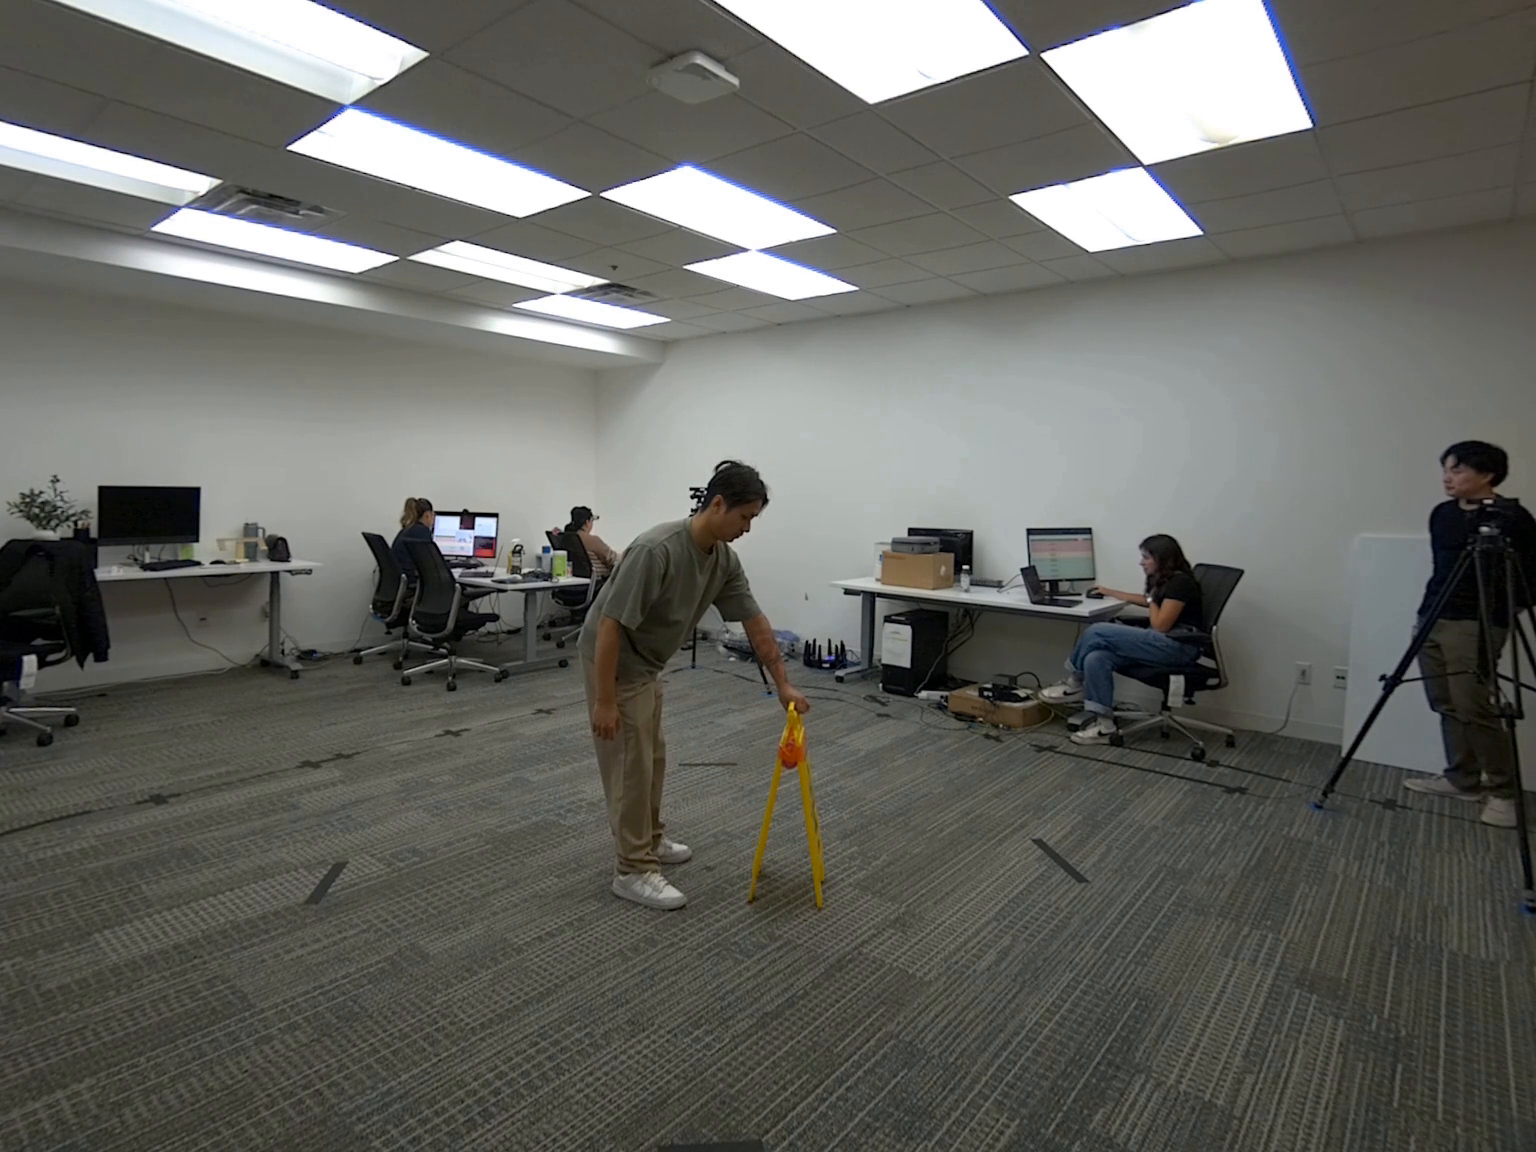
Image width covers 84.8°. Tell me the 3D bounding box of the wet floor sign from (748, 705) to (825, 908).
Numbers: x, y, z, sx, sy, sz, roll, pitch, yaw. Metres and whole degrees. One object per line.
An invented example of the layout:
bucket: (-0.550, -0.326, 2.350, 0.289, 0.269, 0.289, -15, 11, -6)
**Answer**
wet floor sign: (0.077, 0.771, 2.955, 0.292, 0.644, 0.280, 4, 3, 7)
